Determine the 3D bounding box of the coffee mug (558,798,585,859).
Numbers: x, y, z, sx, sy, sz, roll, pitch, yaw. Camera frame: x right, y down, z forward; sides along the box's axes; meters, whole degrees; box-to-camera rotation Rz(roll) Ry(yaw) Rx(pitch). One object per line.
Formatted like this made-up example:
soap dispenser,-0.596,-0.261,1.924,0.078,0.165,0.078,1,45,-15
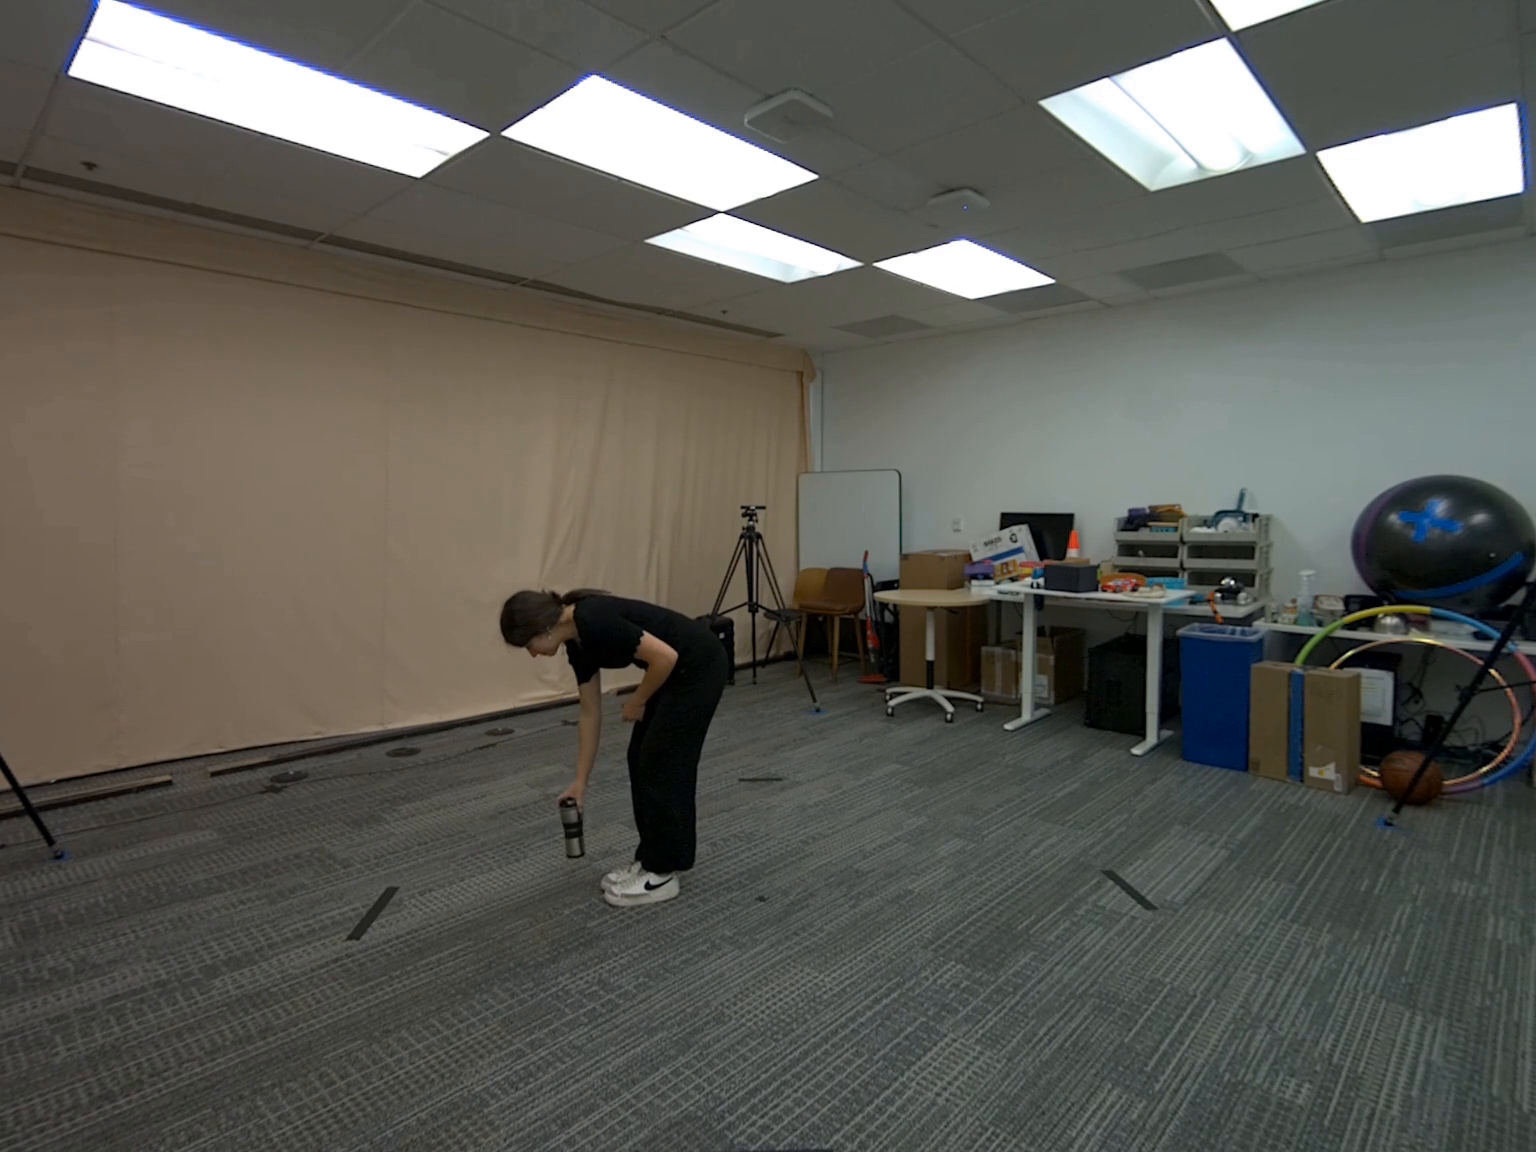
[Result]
coffee mug,-0.708,0.931,3.133,0.090,0.202,0.119,-7,3,36
